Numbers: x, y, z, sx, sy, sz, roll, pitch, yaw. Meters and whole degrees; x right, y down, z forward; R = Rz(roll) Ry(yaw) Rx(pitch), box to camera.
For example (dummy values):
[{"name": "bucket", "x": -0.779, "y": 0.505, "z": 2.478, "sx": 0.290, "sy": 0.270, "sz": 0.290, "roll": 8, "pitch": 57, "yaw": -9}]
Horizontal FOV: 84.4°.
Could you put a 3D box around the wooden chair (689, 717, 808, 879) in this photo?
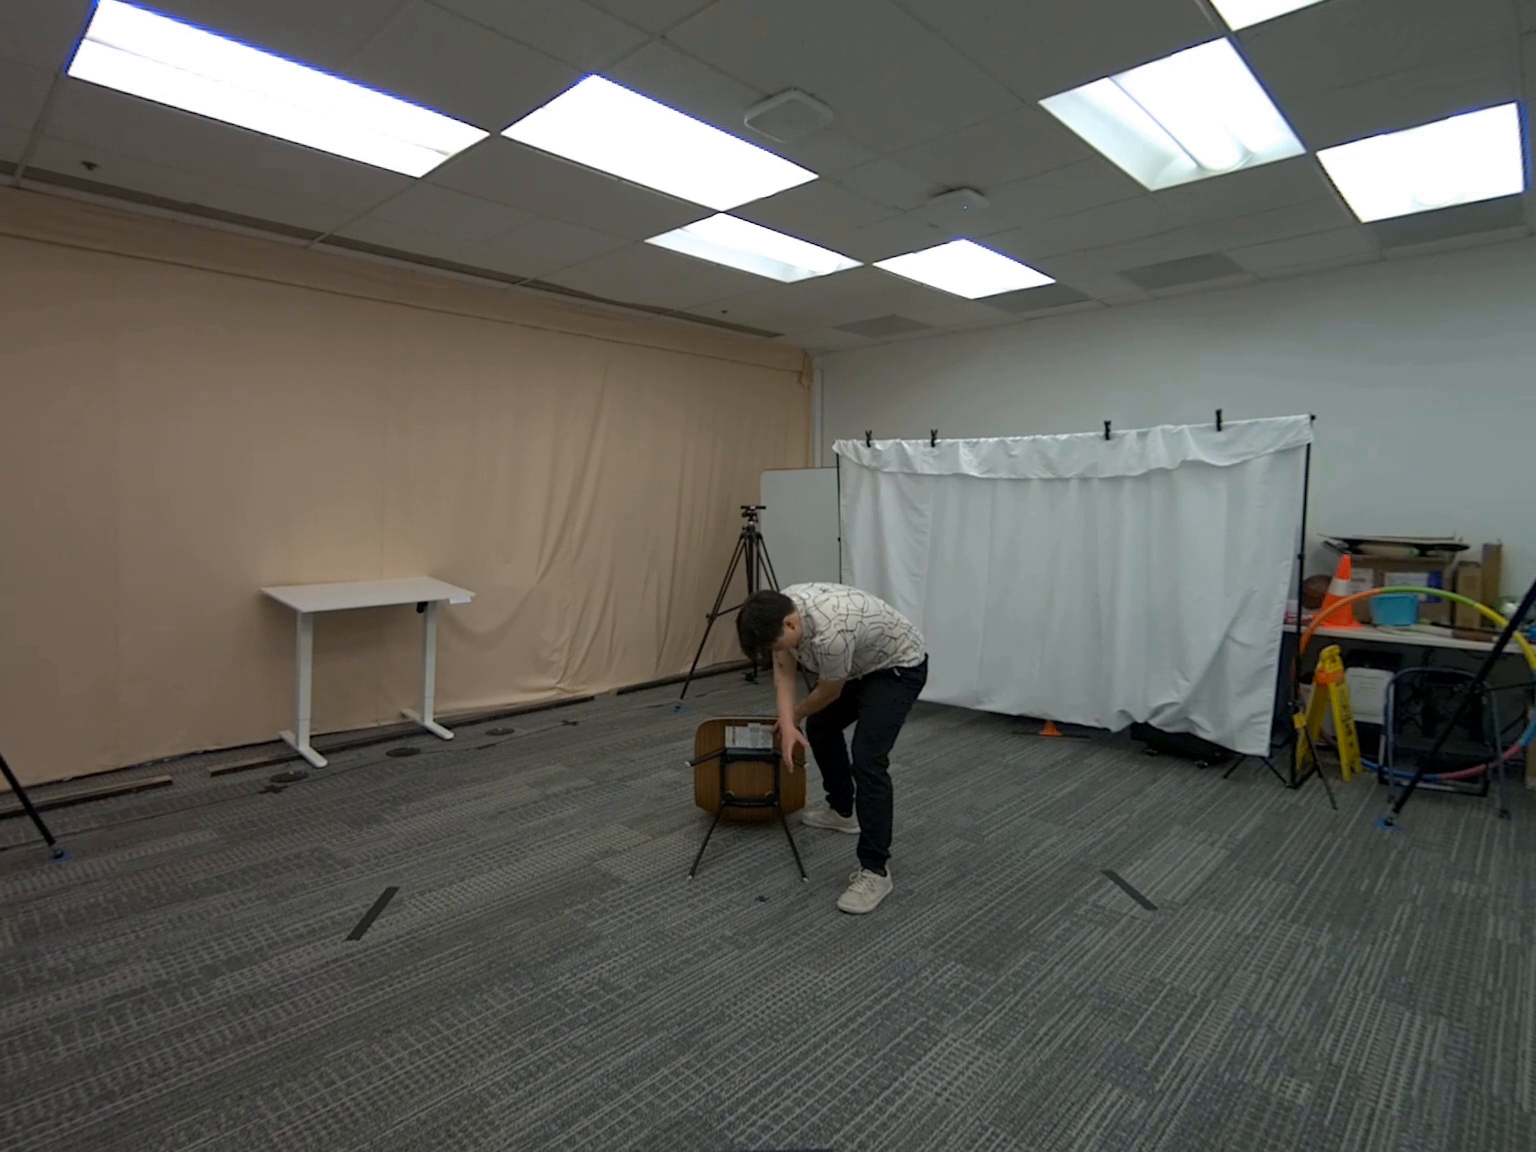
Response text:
[{"name": "wooden chair", "x": -0.075, "y": 0.845, "z": 3.520, "sx": 0.479, "sy": 0.522, "sz": 0.876, "roll": -1, "pitch": 2, "yaw": 1}]
